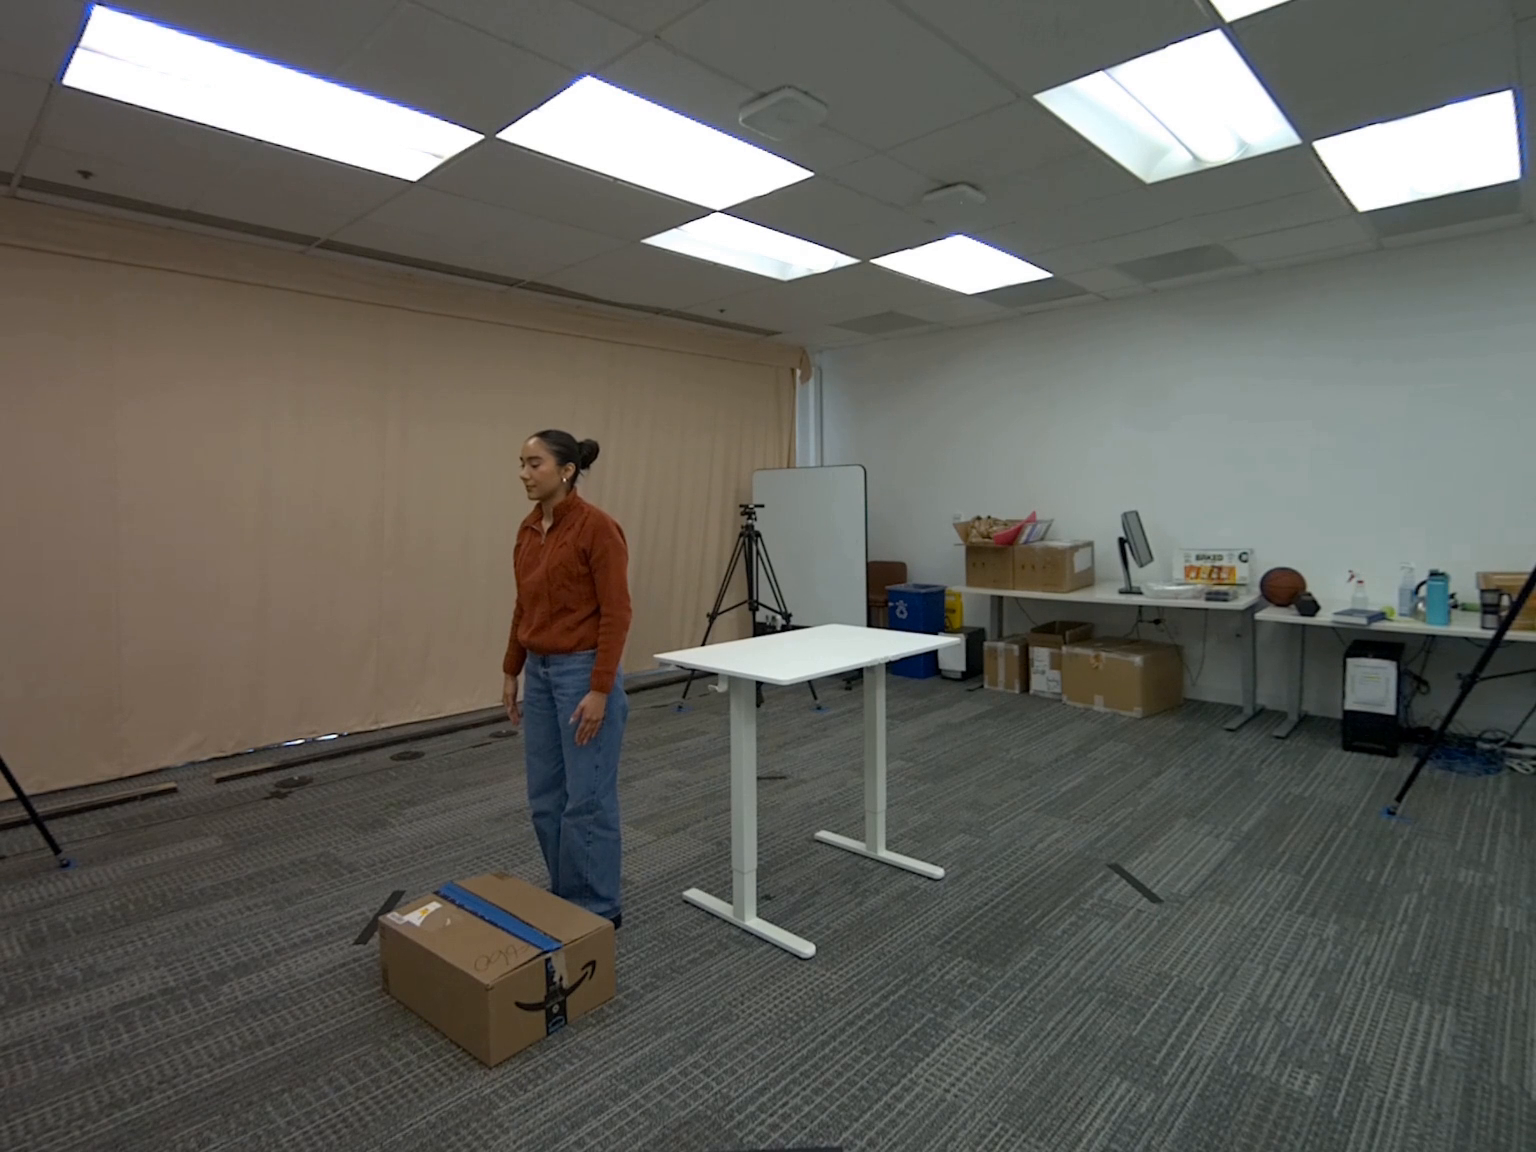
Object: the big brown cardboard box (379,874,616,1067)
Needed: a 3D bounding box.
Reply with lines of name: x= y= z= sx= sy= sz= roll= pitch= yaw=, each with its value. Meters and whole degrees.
big brown cardboard box: x=-0.789 y=1.092 z=2.426 sx=0.608 sy=0.232 sz=0.405 roll=4 pitch=6 yaw=39
